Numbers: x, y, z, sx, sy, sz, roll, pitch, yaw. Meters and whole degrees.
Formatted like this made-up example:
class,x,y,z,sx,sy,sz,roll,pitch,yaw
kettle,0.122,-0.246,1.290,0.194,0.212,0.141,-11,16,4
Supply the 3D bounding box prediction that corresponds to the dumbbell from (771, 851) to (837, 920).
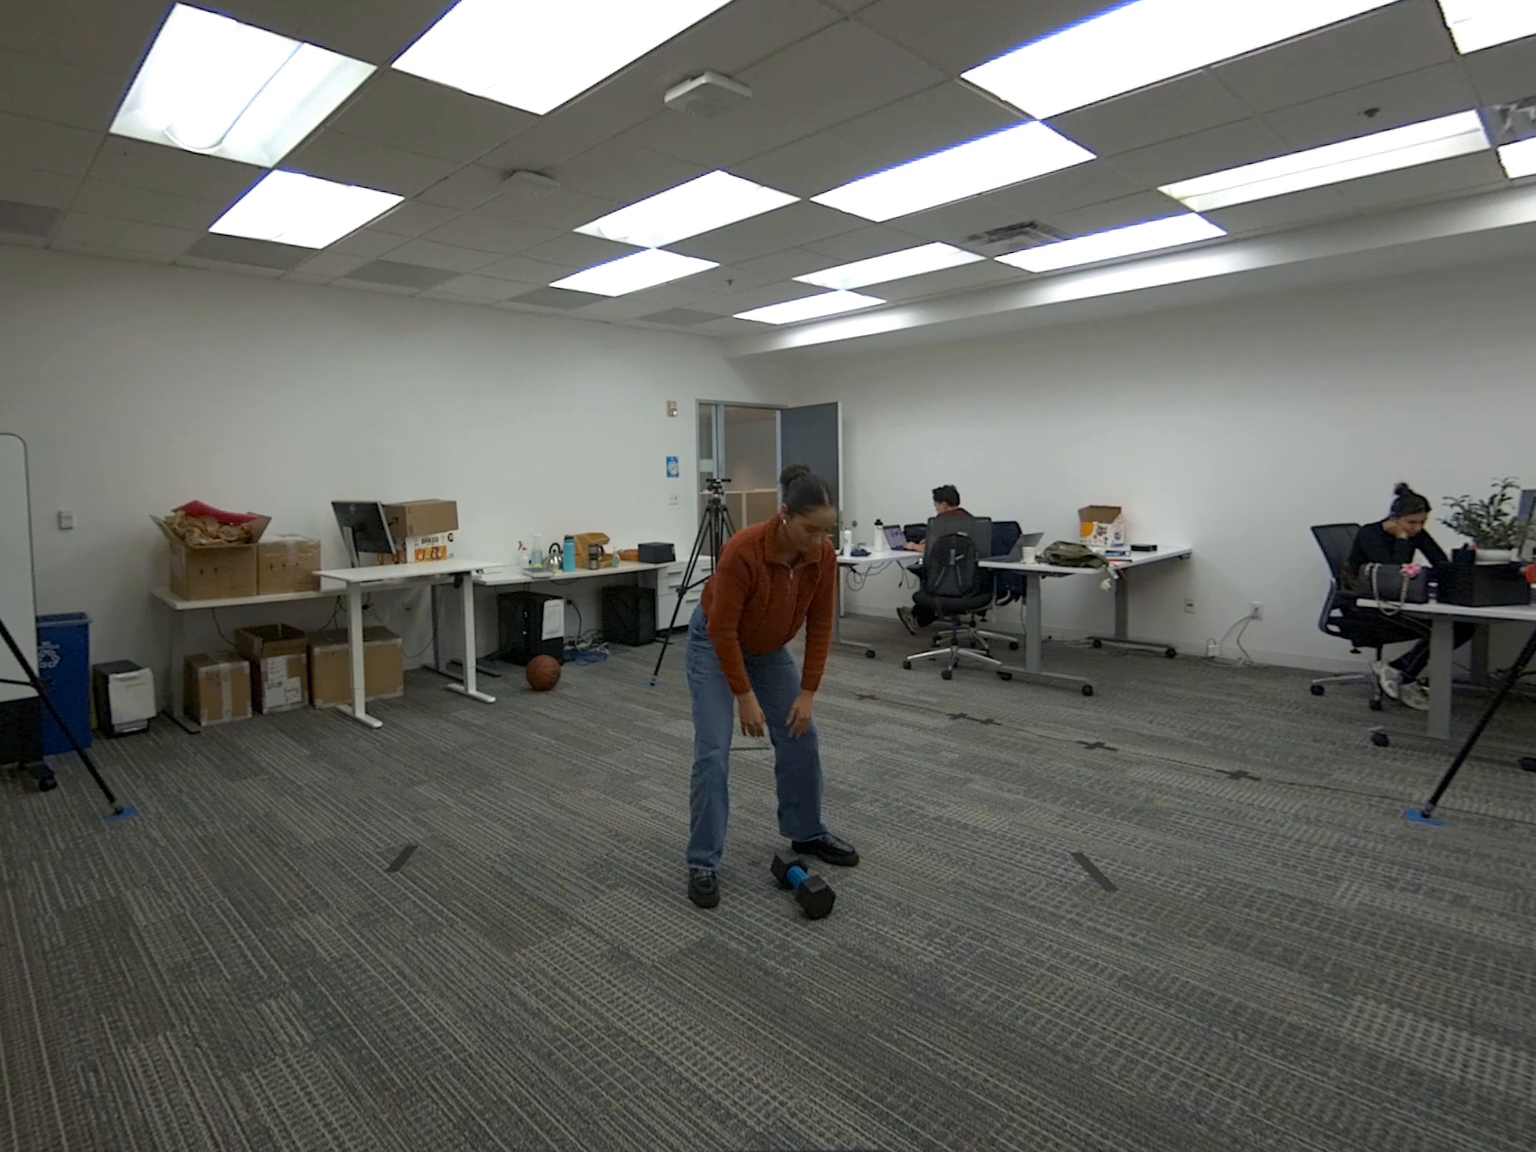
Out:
class,x,y,z,sx,sy,sz,roll,pitch,yaw
dumbbell,0.122,1.024,2.830,0.108,0.121,0.299,-41,15,-12
